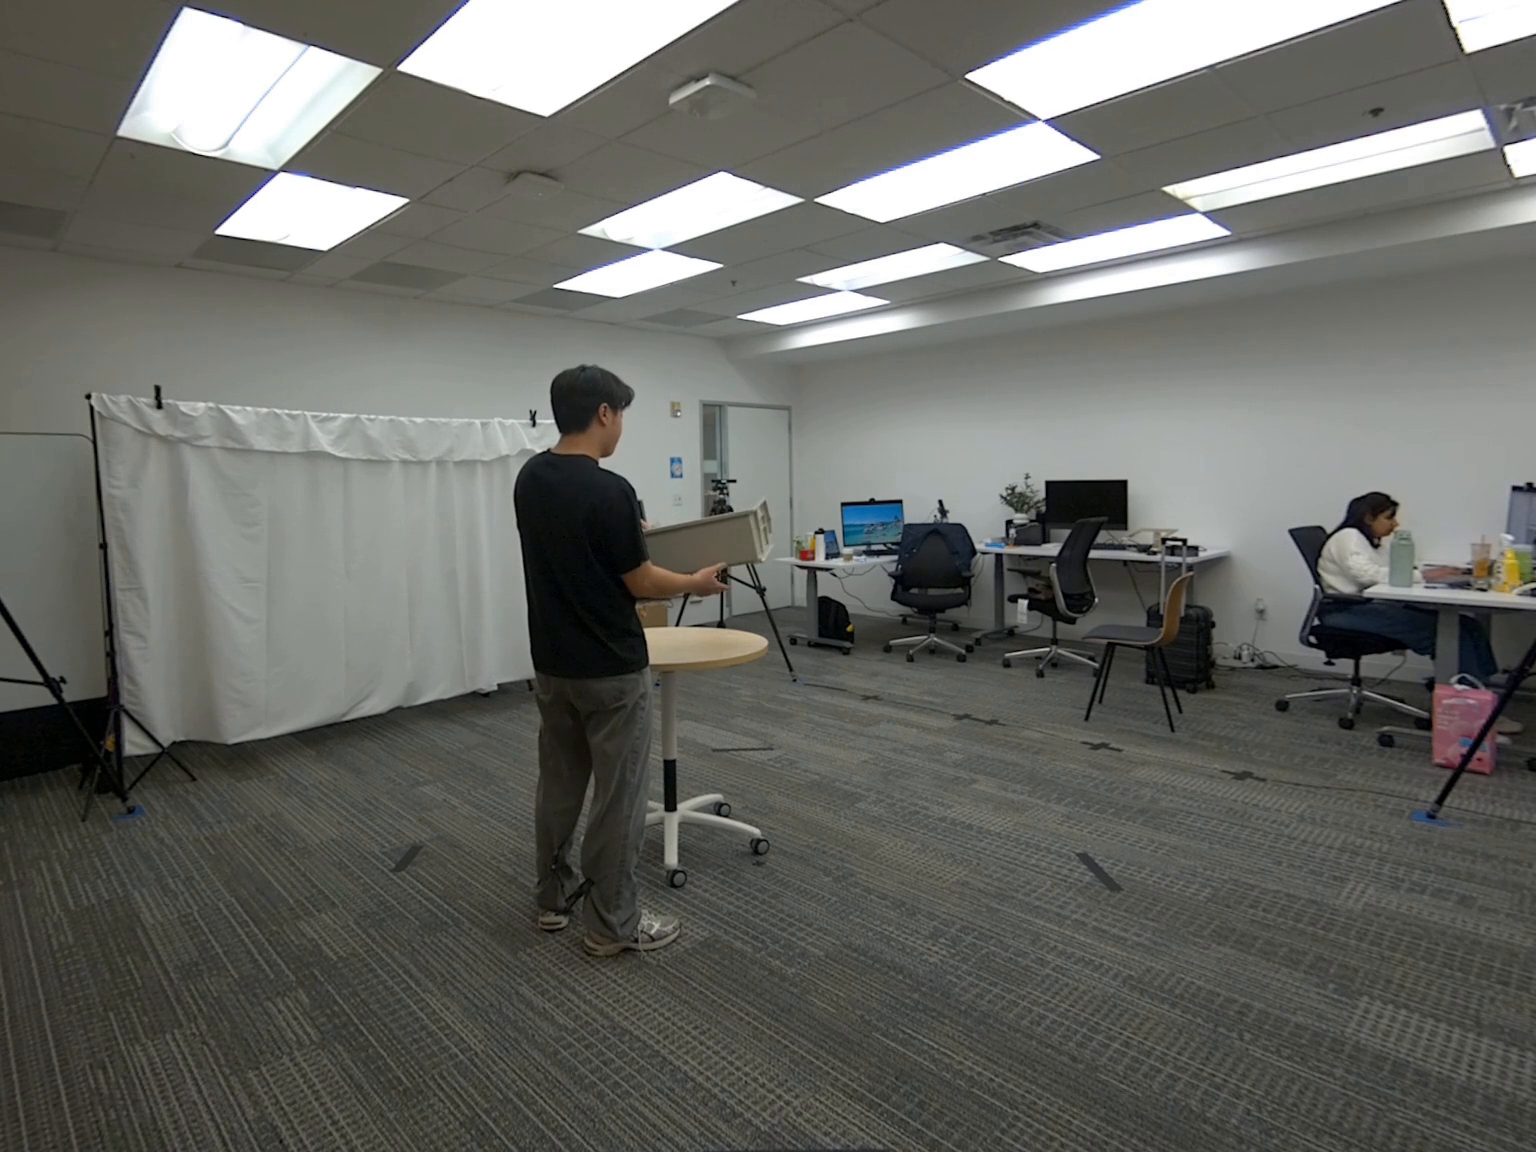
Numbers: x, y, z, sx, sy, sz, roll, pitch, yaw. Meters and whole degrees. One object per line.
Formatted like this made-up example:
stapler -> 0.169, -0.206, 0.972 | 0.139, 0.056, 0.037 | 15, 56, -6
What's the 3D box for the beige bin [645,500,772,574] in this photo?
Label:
beige bin -> -0.213, -0.126, 2.939 | 0.426, 0.187, 0.378 | -10, 10, 10
